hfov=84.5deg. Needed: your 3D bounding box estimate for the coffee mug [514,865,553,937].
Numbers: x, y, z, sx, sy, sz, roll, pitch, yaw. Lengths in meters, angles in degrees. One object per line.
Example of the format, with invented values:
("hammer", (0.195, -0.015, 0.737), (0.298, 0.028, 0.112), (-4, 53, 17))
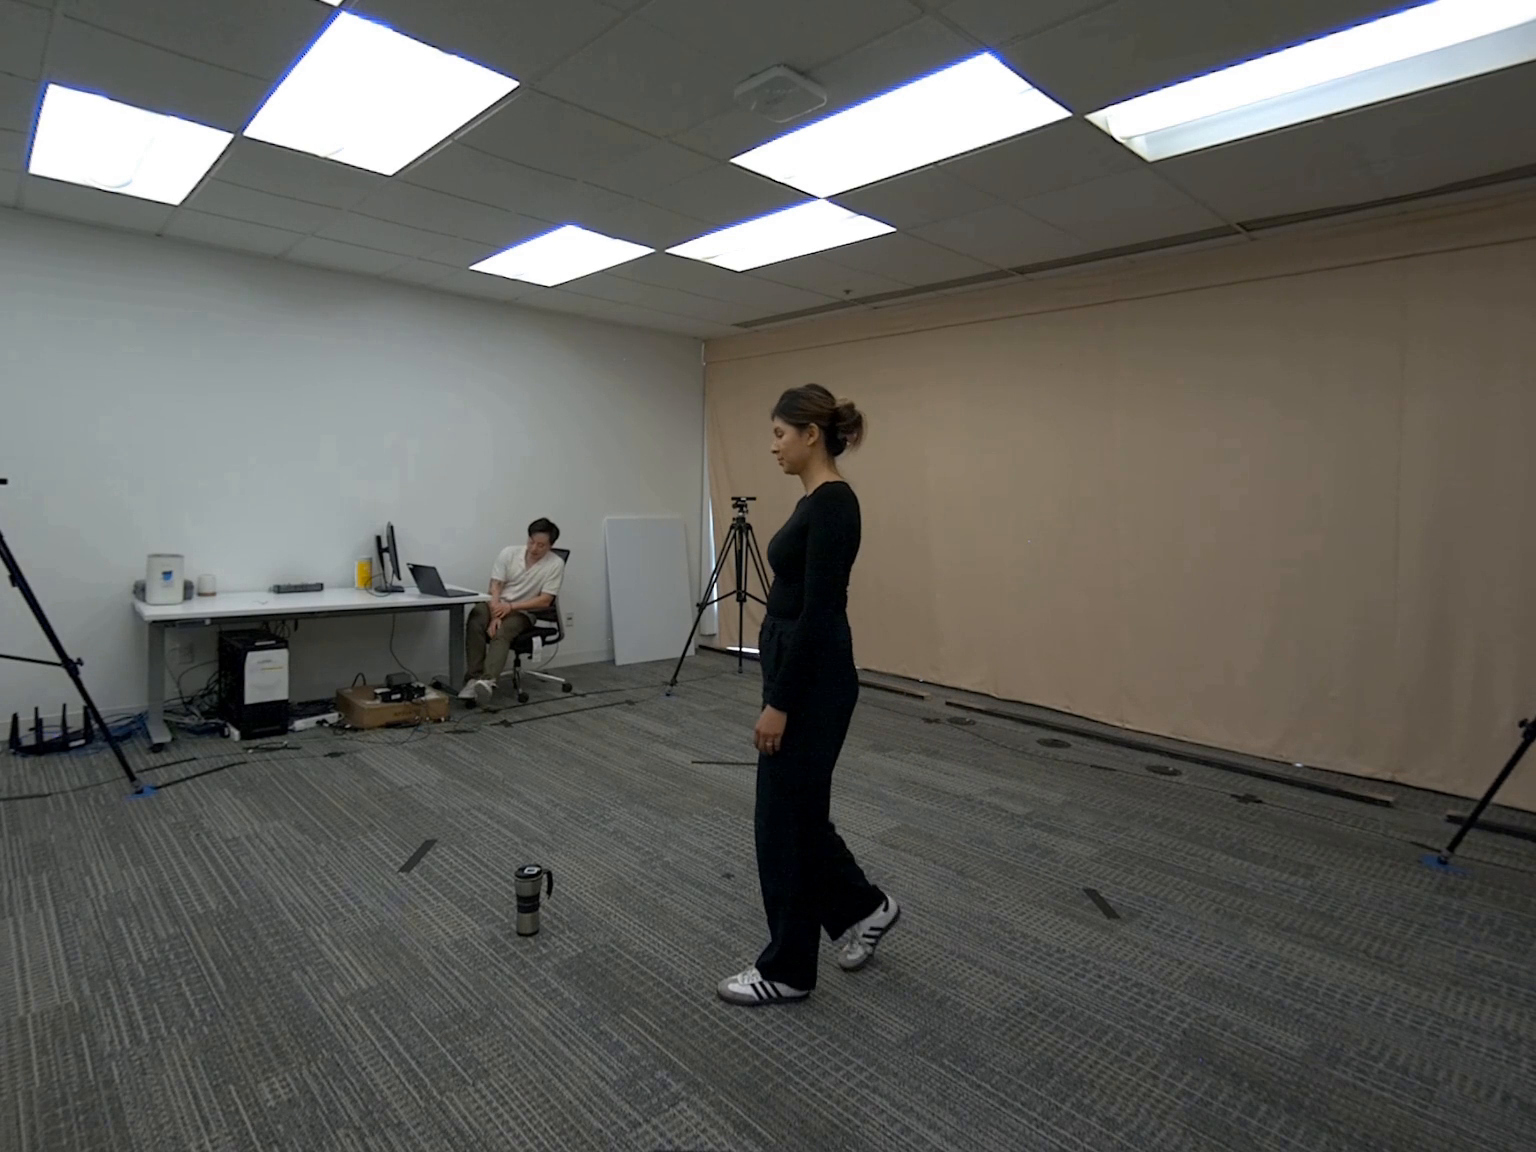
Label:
("coffee mug", (-0.747, 1.035, 2.673), (0.120, 0.202, 0.089), (-4, 2, -18))
